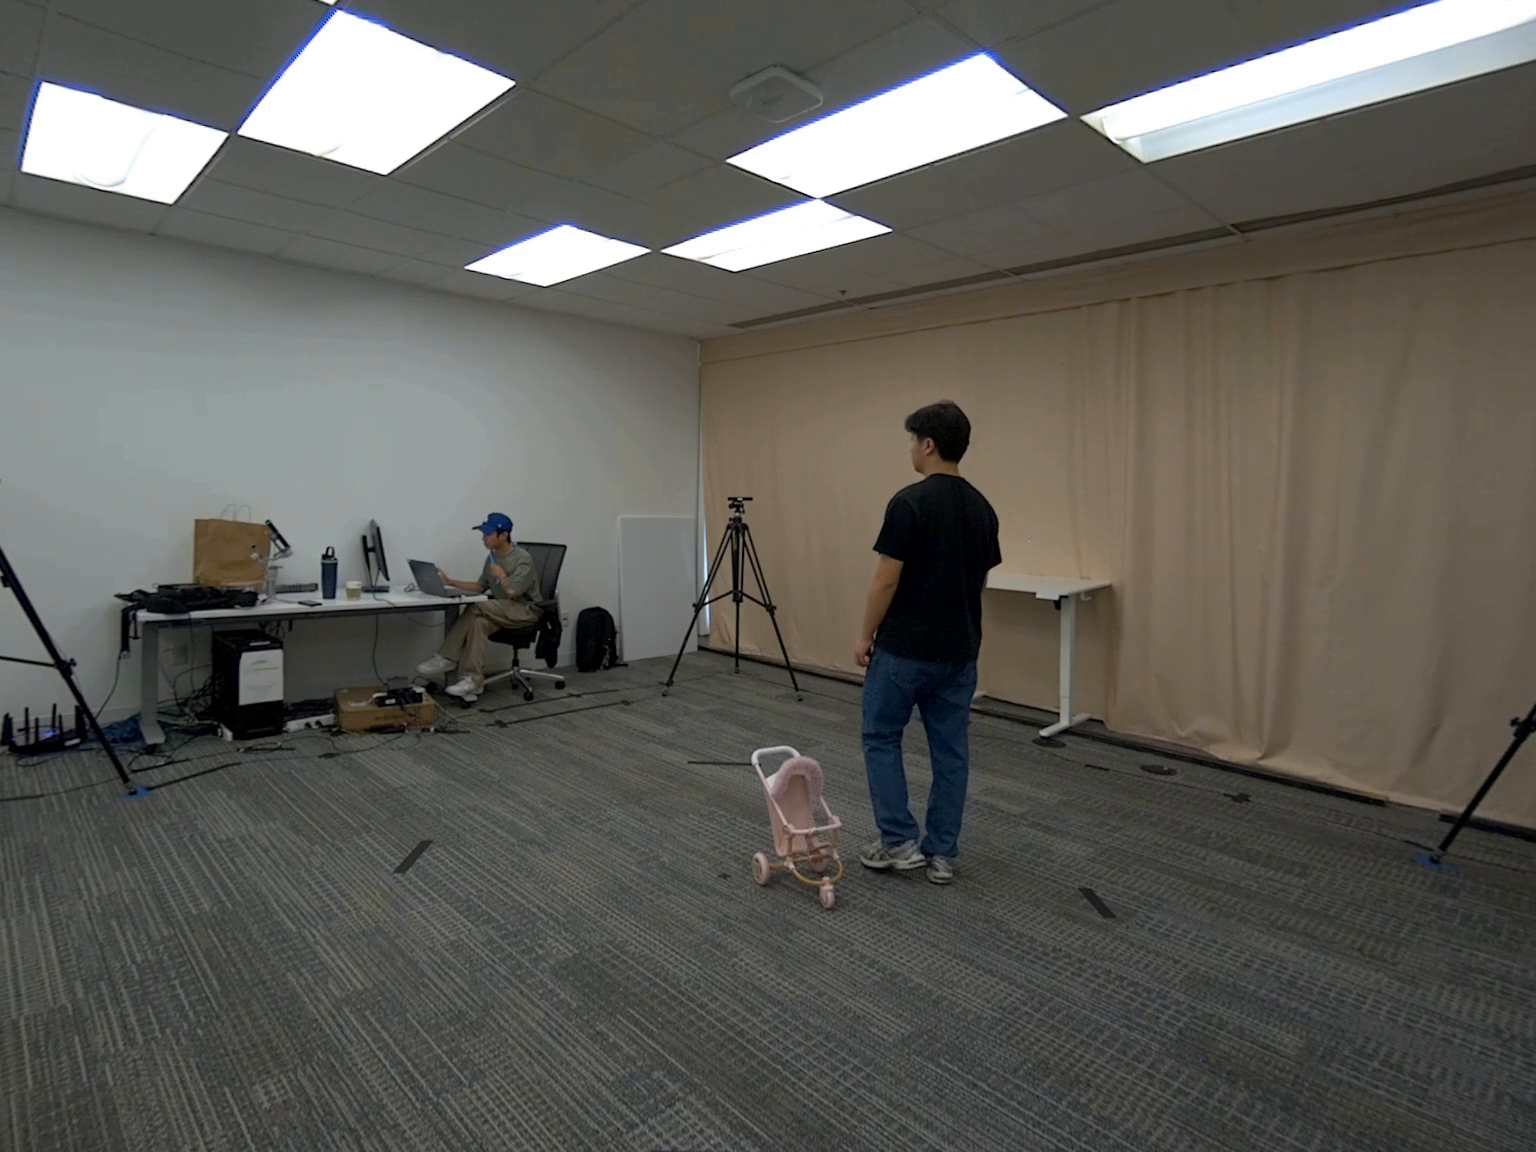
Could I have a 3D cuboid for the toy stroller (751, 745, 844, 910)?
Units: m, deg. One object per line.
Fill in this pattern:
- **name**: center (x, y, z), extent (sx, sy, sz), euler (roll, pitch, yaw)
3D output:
- **toy stroller**: center (0.109, 0.893, 3.031), extent (0.276, 0.539, 0.344), euler (0, -11, -25)
